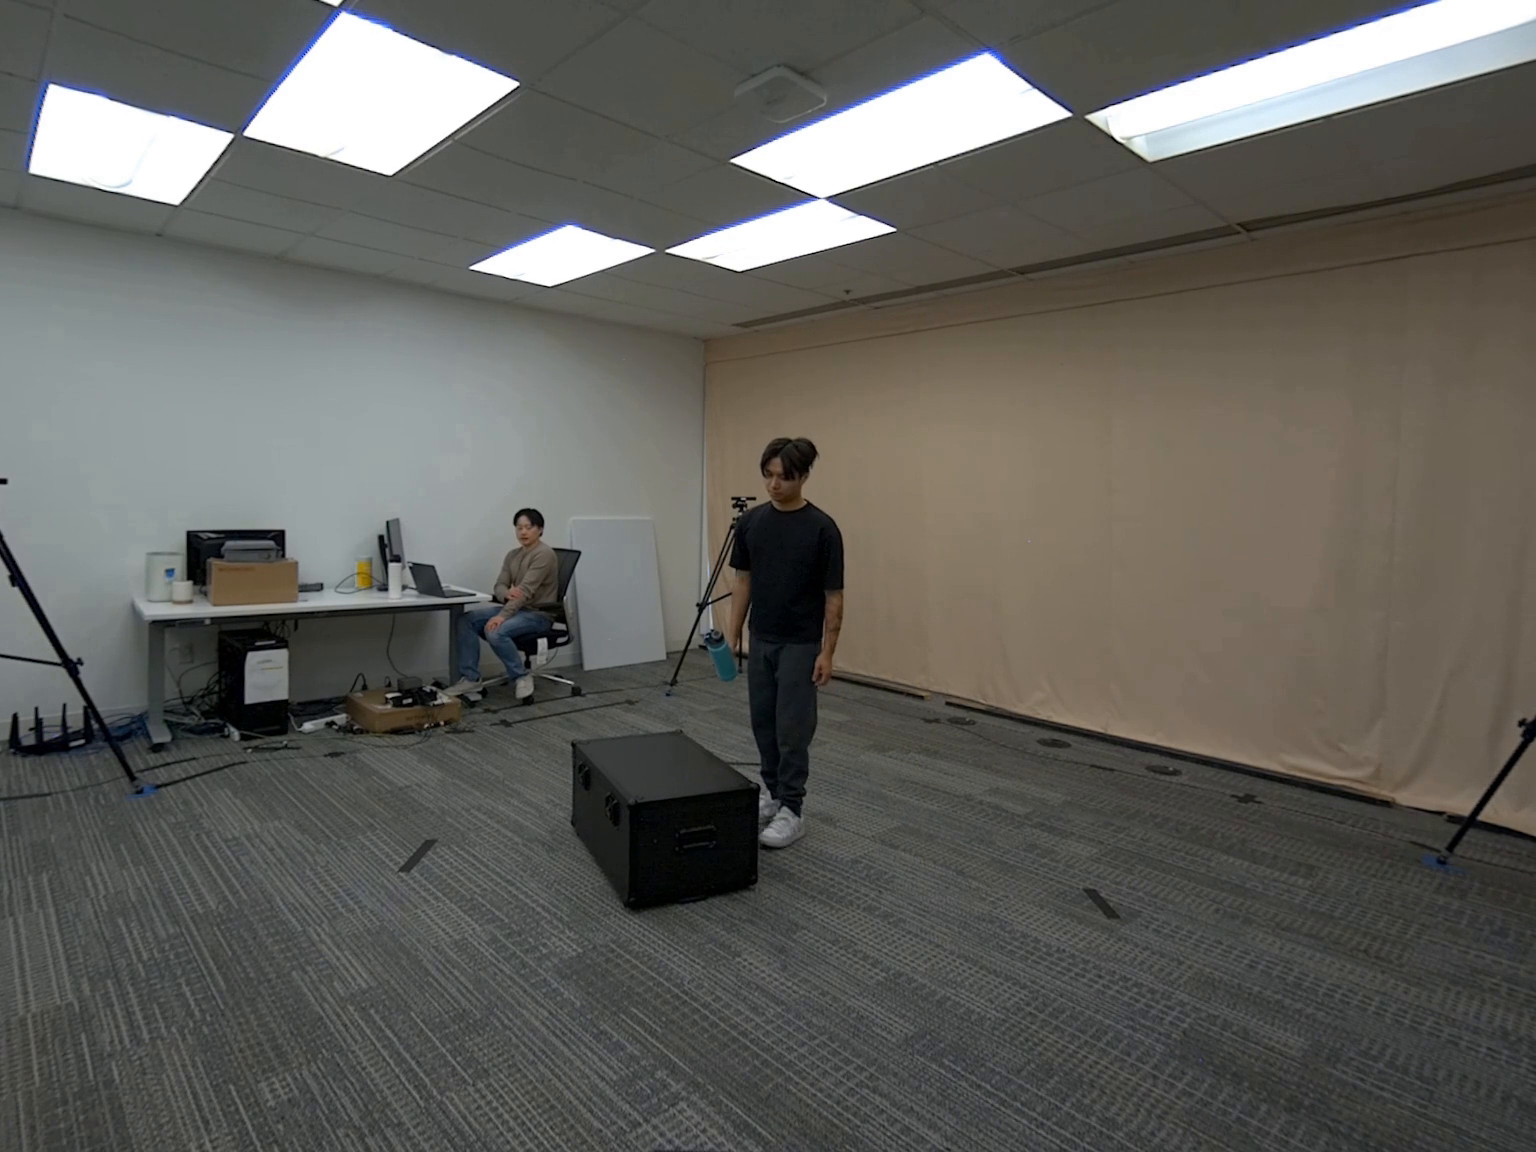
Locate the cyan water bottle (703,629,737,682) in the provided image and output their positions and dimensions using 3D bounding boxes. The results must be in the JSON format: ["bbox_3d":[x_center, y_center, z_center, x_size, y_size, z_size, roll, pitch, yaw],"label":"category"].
[{"bbox_3d":[-0.207,0.330,3.601,0.093,0.275,0.094,-10,44,8],"label":"cyan water bottle"}]
